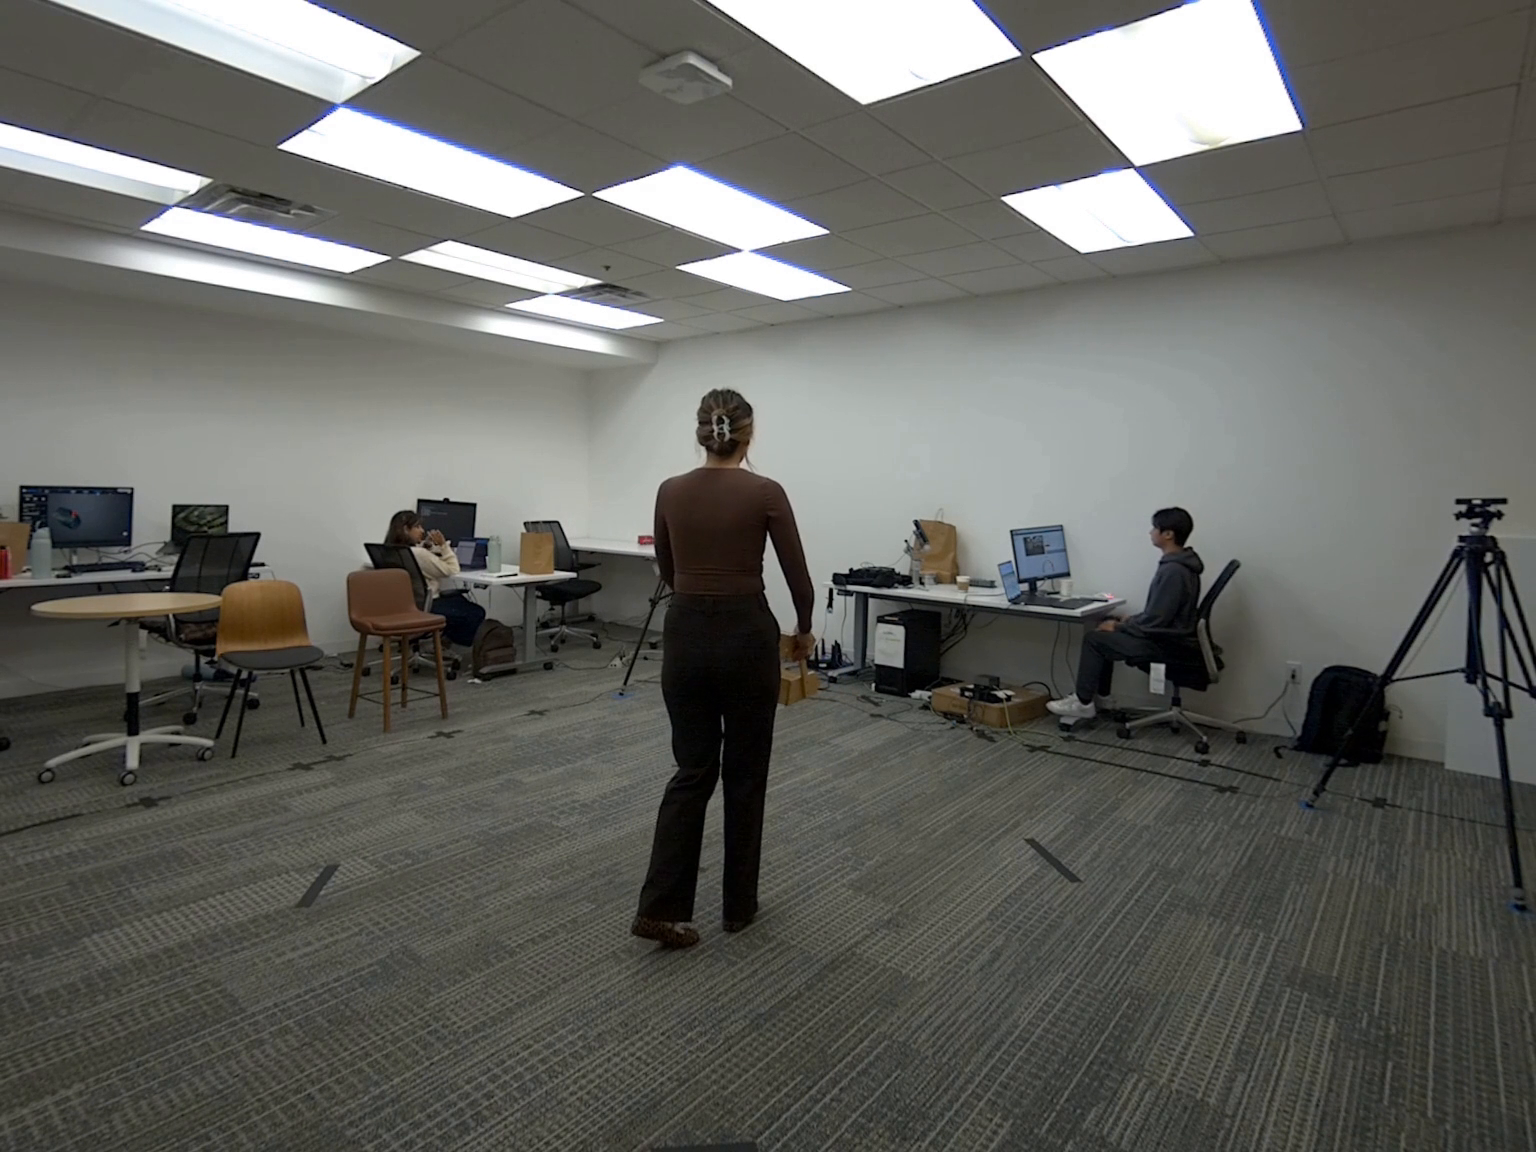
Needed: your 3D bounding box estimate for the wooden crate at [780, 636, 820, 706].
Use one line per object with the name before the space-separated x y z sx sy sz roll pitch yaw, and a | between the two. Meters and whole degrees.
wooden crate | -0.009 0.281 3.086 0.335 0.272 0.294 11 9 29
